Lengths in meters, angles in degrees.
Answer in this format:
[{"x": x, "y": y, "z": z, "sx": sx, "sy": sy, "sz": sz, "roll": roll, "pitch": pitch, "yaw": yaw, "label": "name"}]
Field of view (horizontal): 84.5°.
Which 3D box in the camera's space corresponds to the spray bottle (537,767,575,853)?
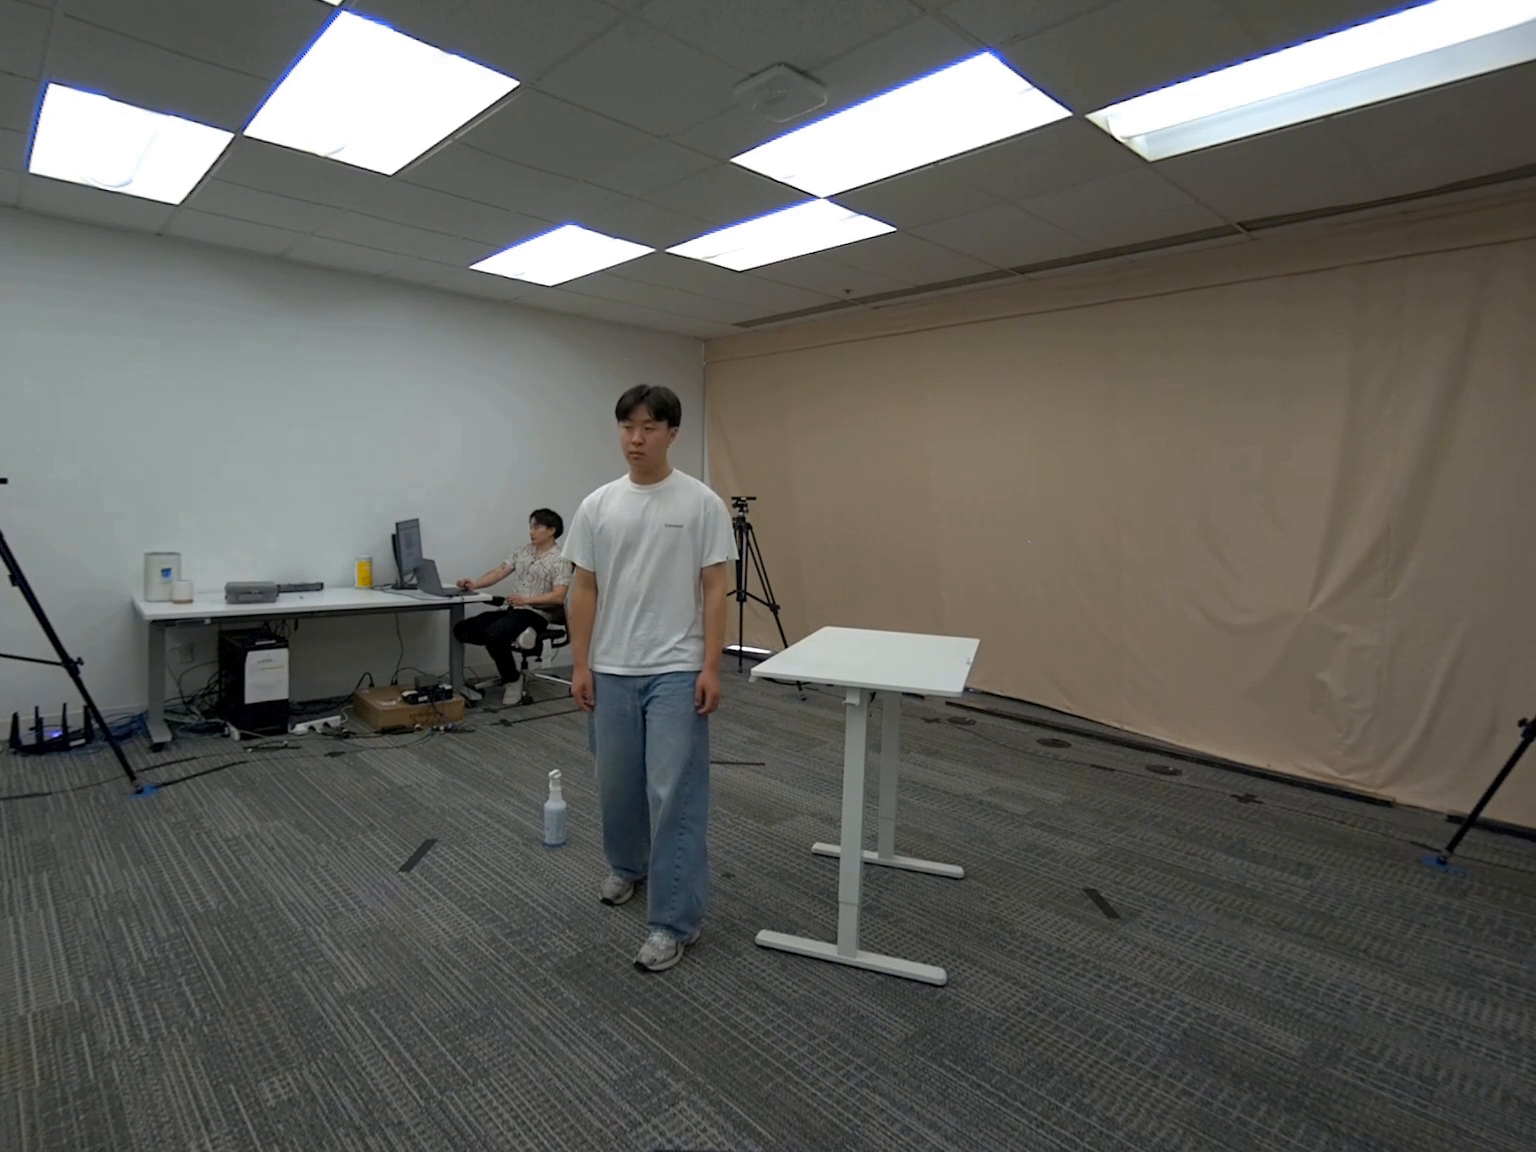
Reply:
[{"x": -0.839, "y": 0.920, "z": 3.345, "sx": 0.089, "sy": 0.296, "sz": 0.088, "roll": 8, "pitch": 6, "yaw": 34, "label": "spray bottle"}]
